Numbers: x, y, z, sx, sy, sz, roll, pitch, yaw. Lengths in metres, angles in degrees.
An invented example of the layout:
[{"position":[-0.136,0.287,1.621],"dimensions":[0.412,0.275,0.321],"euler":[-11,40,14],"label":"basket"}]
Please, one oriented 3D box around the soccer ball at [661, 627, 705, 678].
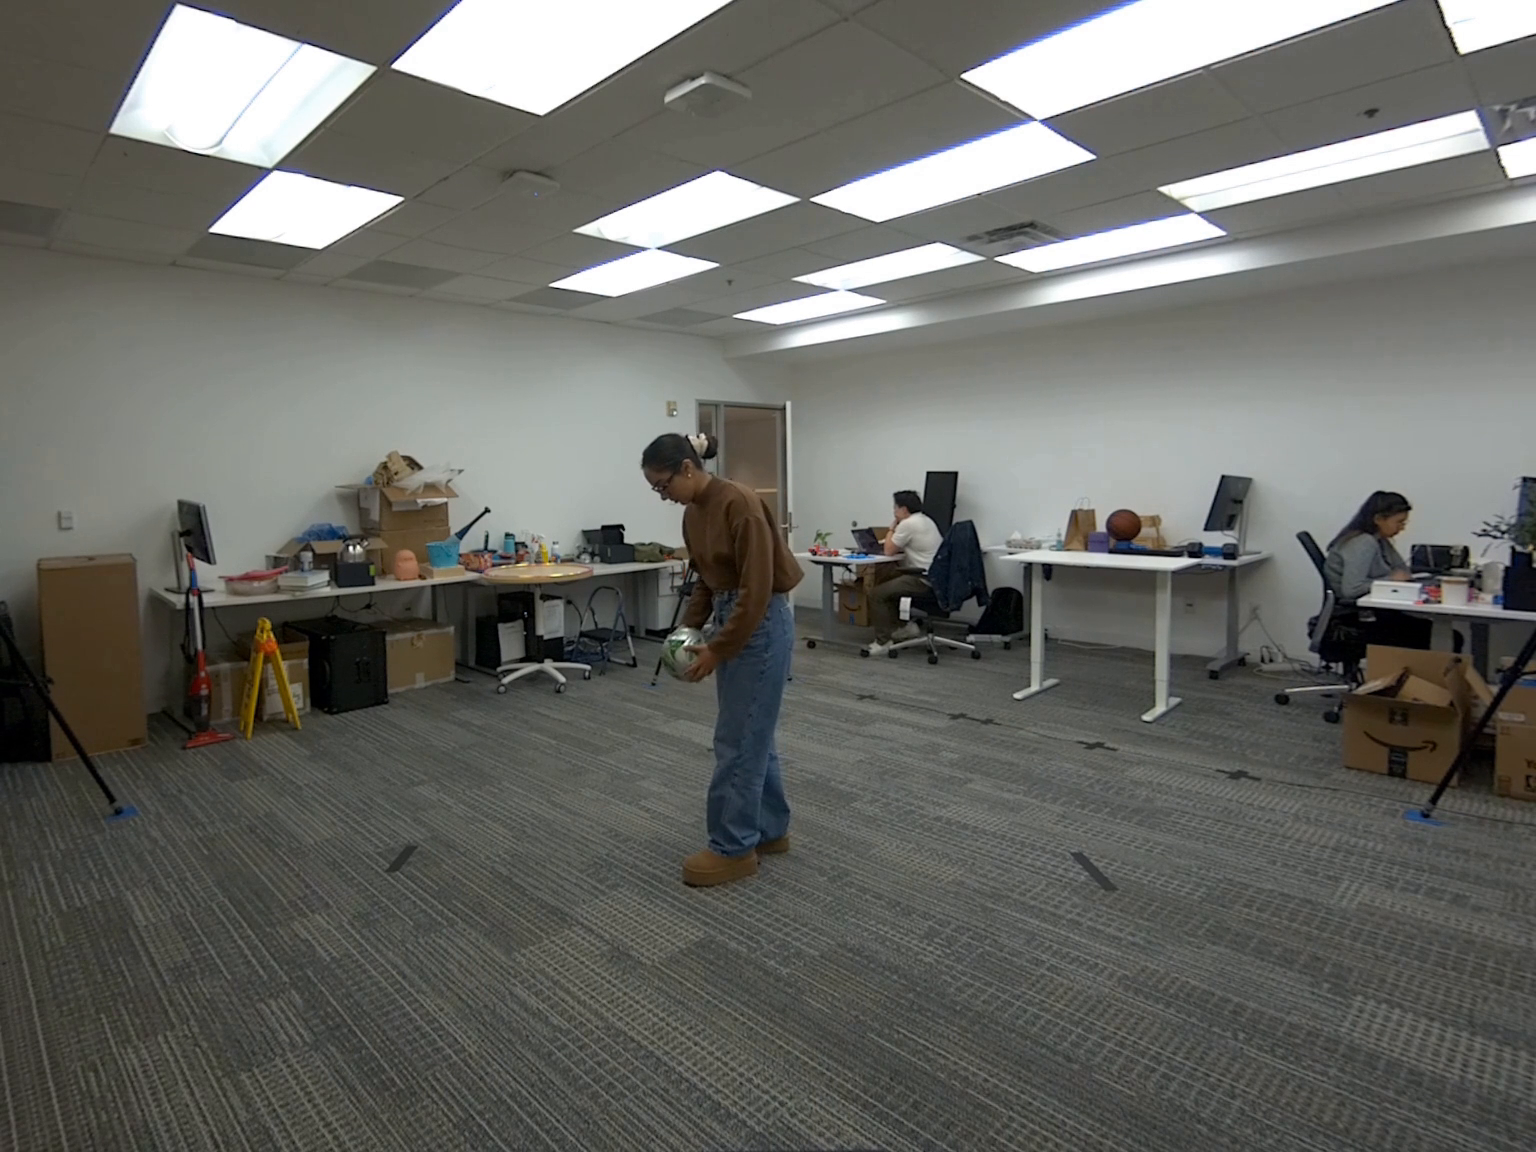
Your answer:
[{"position":[-0.275,0.281,2.964],"dimensions":[0.187,0.187,0.188],"euler":[-1,5,-2],"label":"soccer ball"}]
